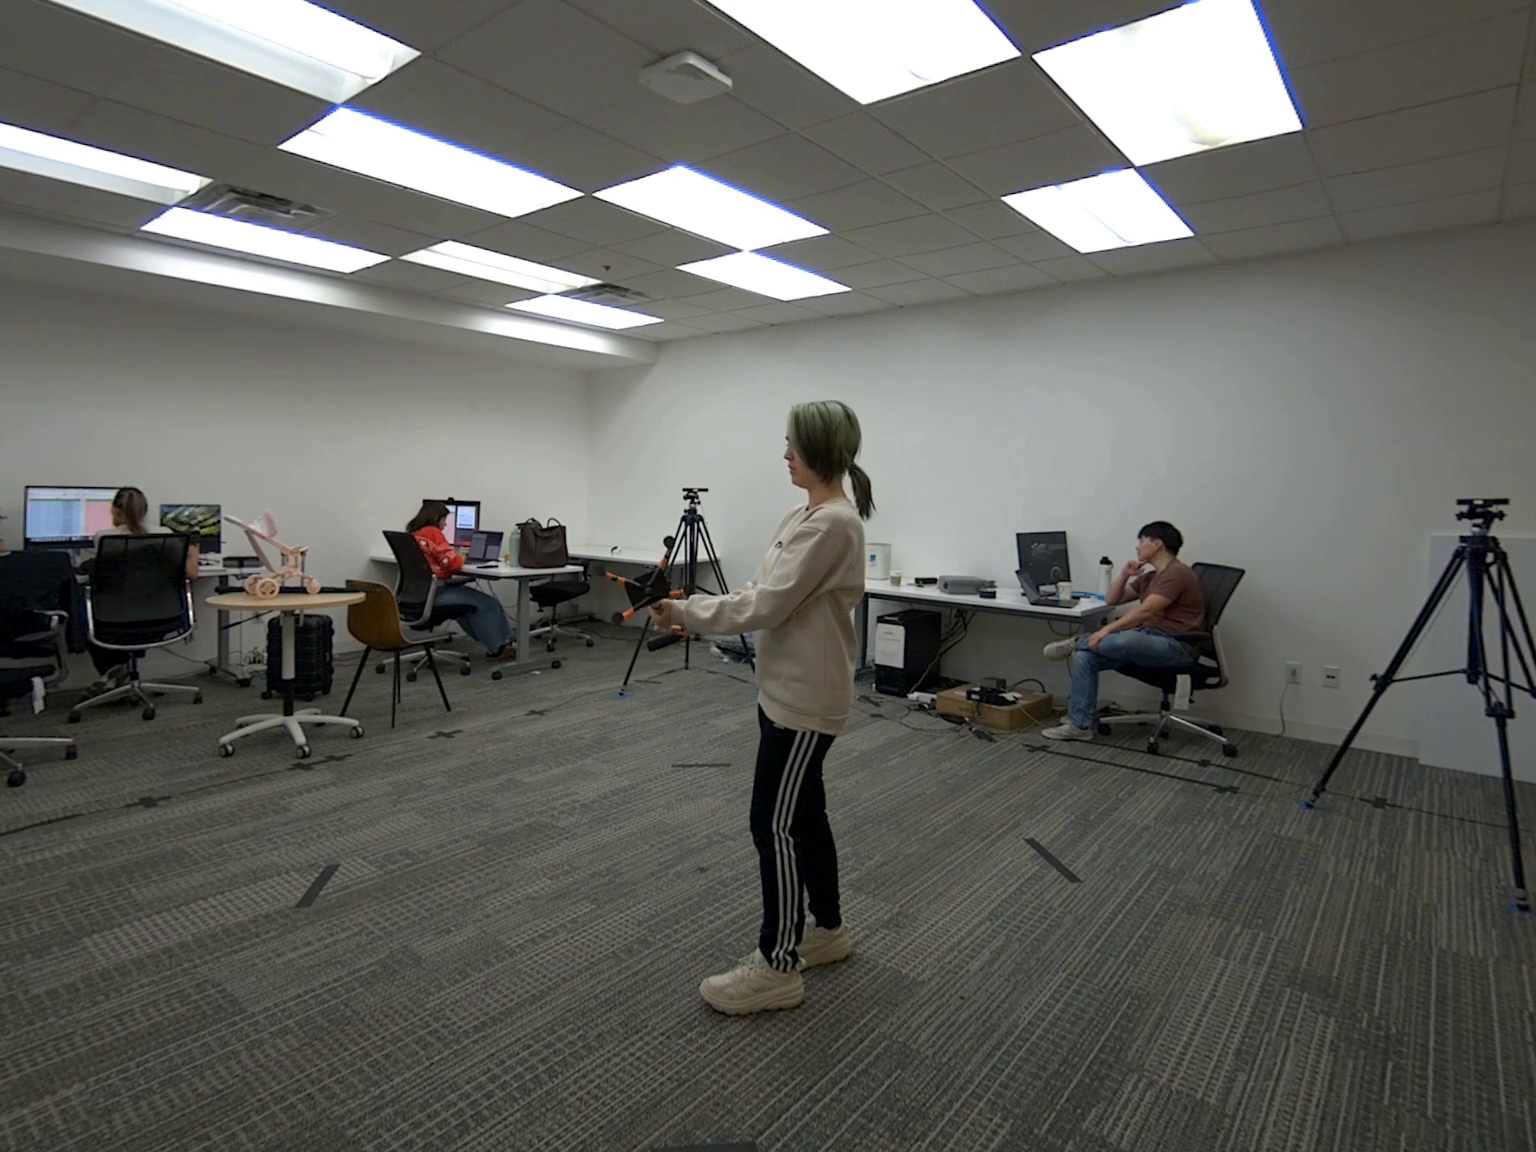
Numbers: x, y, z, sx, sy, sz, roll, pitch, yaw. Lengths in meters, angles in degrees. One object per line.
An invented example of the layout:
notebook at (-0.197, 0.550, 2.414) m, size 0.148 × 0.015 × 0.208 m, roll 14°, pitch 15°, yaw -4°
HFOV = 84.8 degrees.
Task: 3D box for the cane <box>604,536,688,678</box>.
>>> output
cane at (-0.322, 0.103, 2.401) m, size 0.205 × 0.154 × 0.896 m, roll -23°, pitch -11°, yaw -8°
